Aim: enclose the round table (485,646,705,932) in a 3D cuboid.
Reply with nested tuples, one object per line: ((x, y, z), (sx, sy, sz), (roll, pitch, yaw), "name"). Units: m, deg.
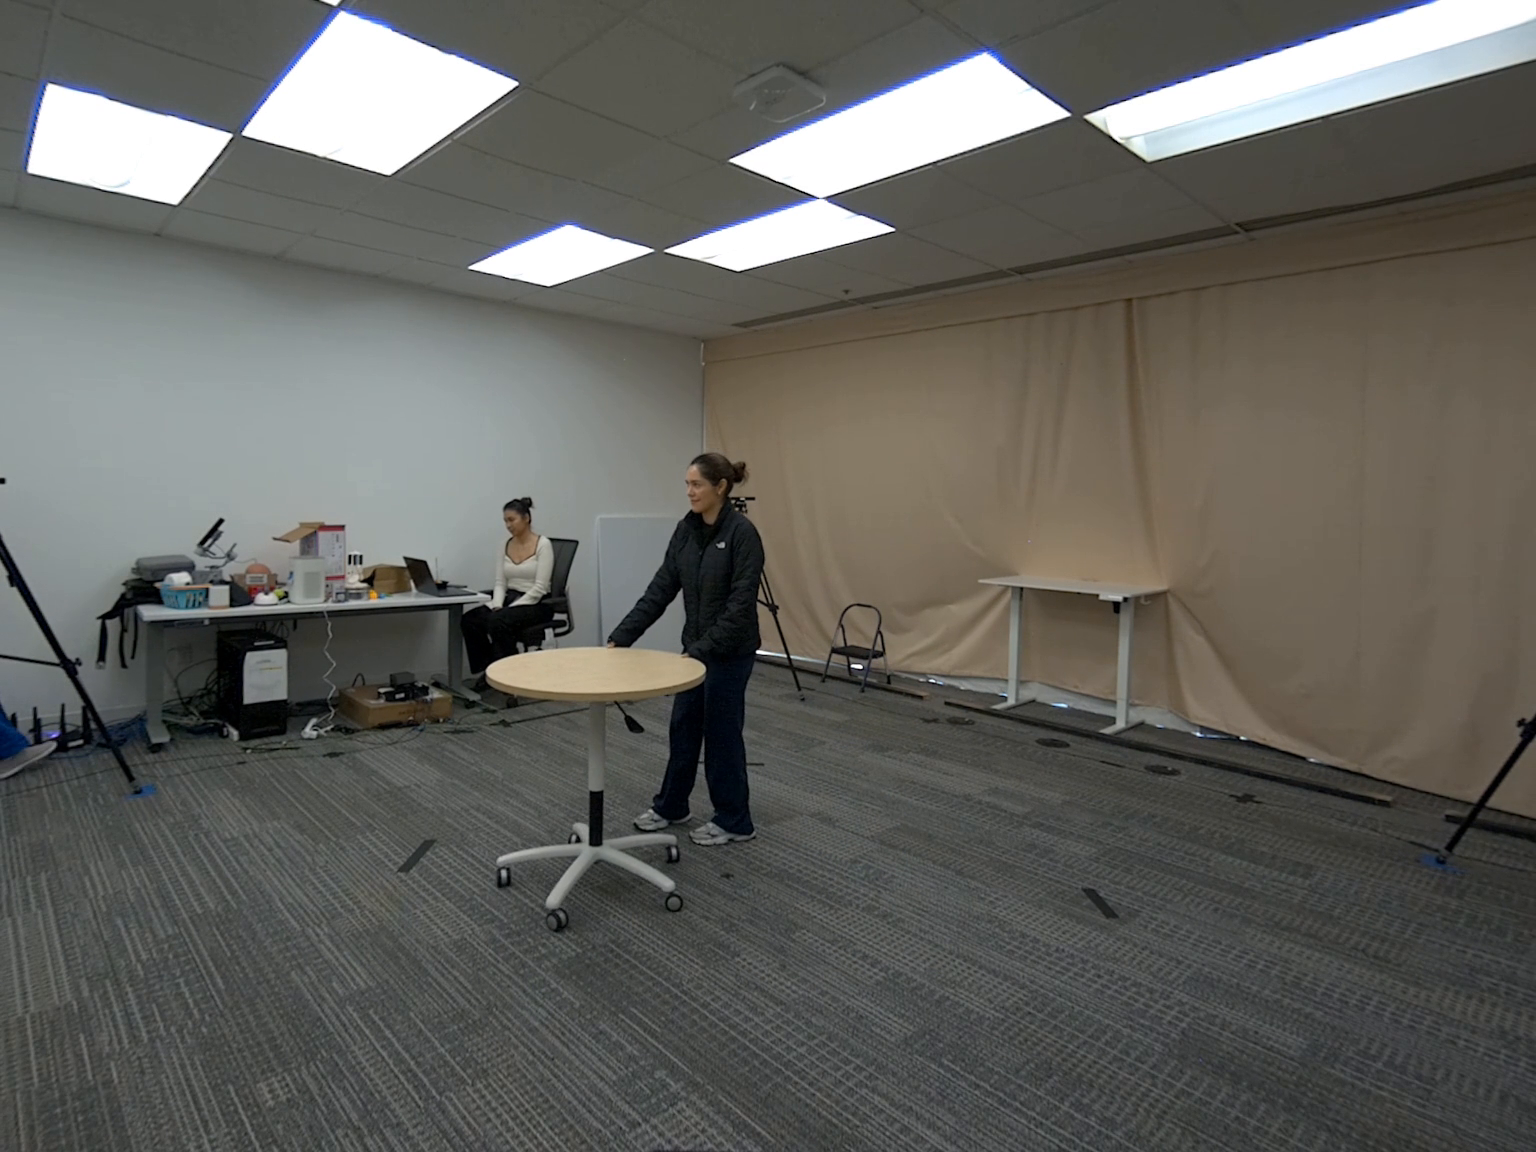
((-0.599, 0.713, 2.991), (0.784, 0.784, 0.788), (1, 4, -1), "round table")
